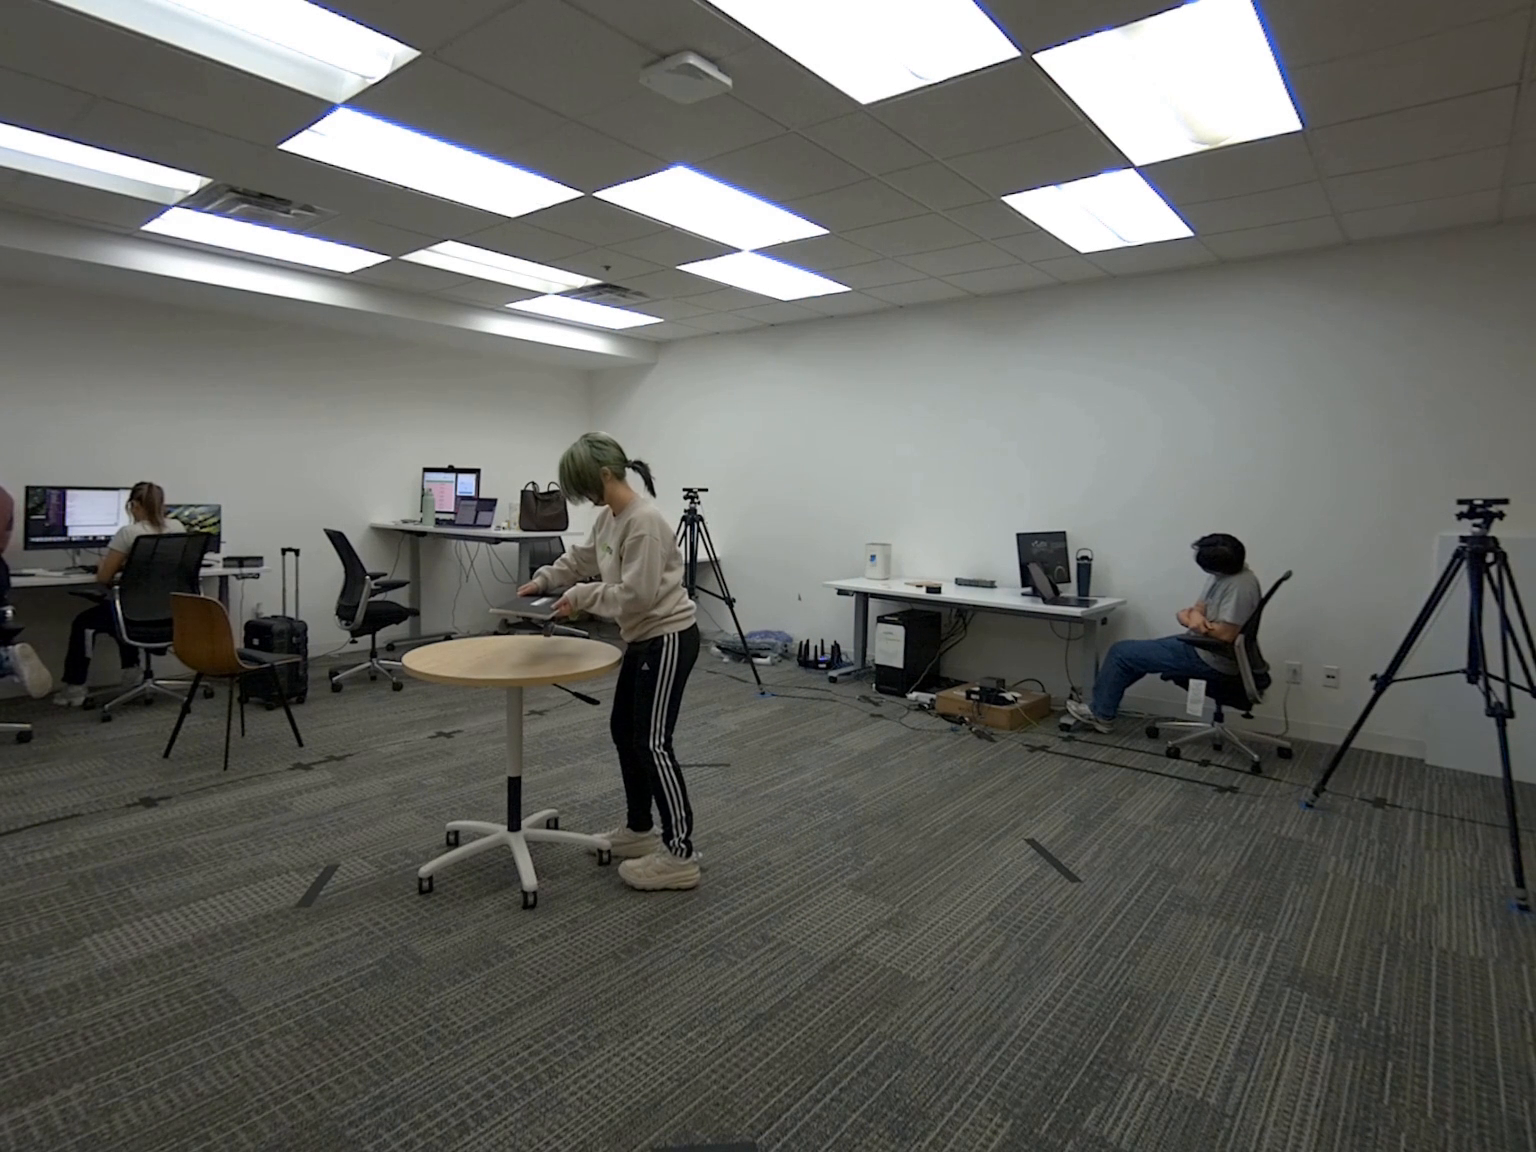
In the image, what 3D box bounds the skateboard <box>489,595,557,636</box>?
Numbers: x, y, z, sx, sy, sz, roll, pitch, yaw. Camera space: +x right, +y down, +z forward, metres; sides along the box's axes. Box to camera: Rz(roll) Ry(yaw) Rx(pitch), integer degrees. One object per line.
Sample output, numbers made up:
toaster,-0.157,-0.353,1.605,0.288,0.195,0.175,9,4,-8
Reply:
skateboard,-0.825,0.130,3.072,0.193,0.110,0.787,3,5,-1
